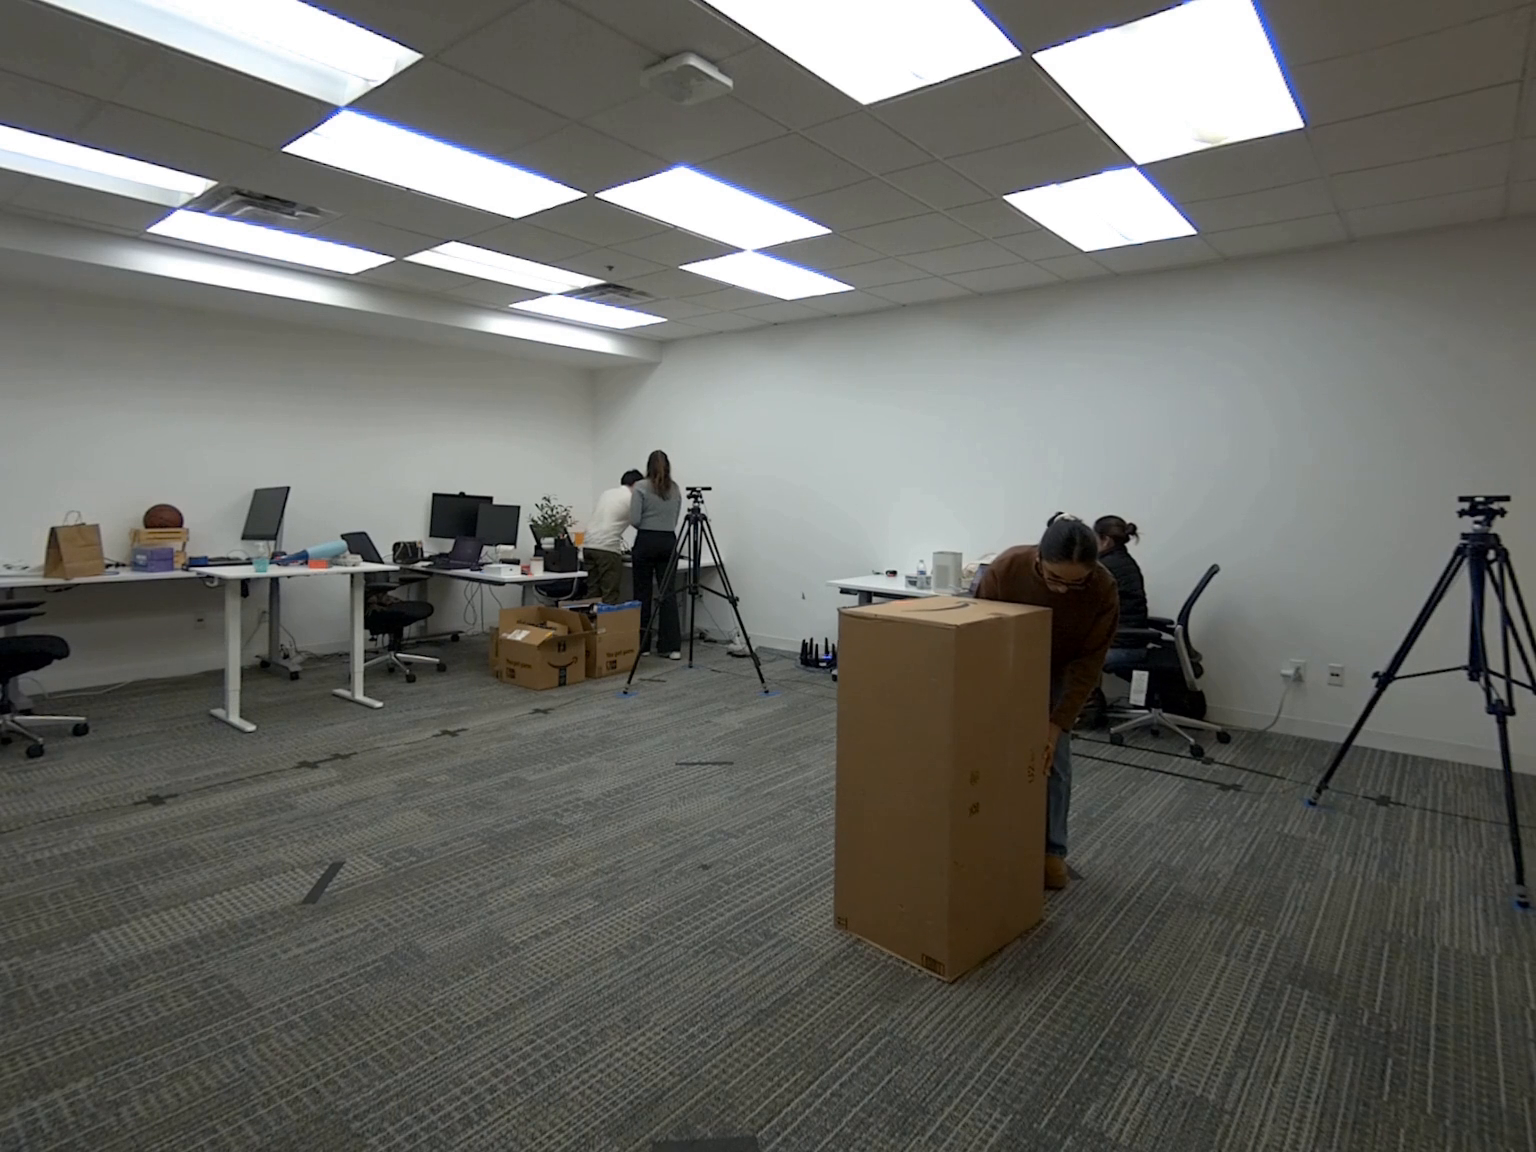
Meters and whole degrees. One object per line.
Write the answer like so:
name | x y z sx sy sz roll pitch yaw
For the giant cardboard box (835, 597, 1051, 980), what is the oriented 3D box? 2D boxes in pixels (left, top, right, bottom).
giant cardboard box | 0.552 0.611 2.723 0.440 1.023 0.560 3 5 45
